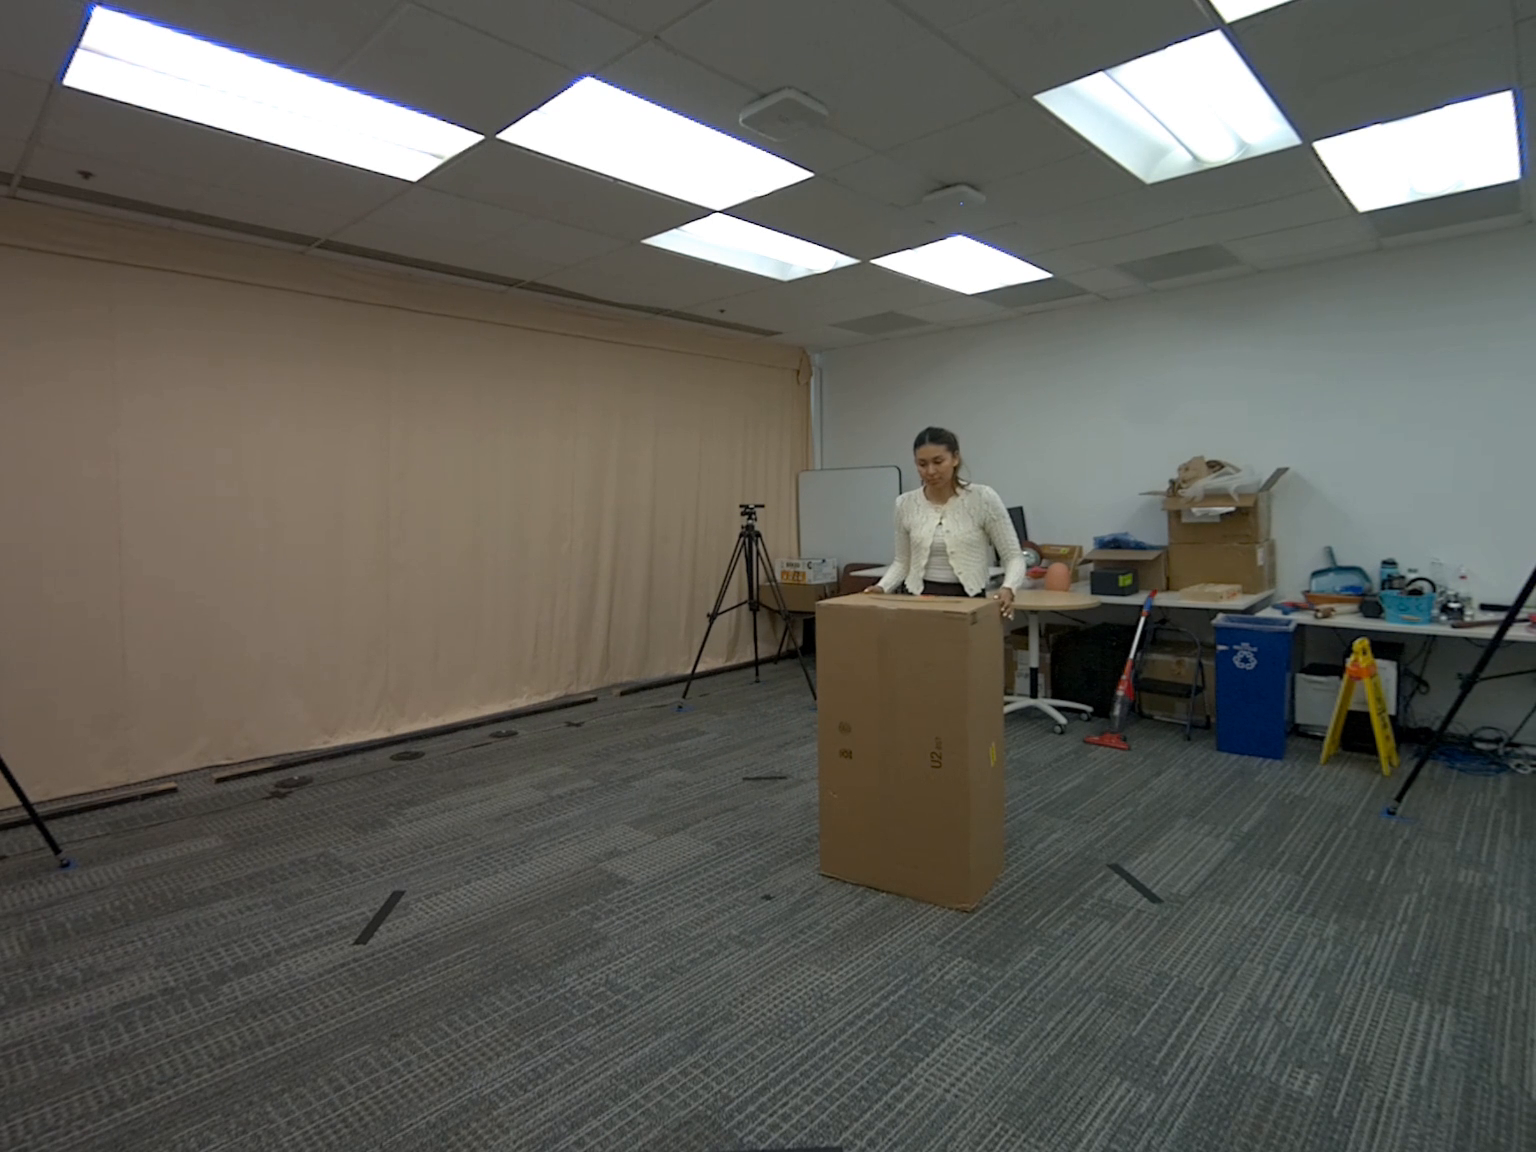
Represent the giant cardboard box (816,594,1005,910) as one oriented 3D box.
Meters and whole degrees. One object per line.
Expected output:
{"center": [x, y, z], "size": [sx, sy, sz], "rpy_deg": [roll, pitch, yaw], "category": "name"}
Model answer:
{"center": [0.535, 0.605, 3.146], "size": [0.595, 1.024, 0.414], "rpy_deg": [1, 3, 33], "category": "giant cardboard box"}
